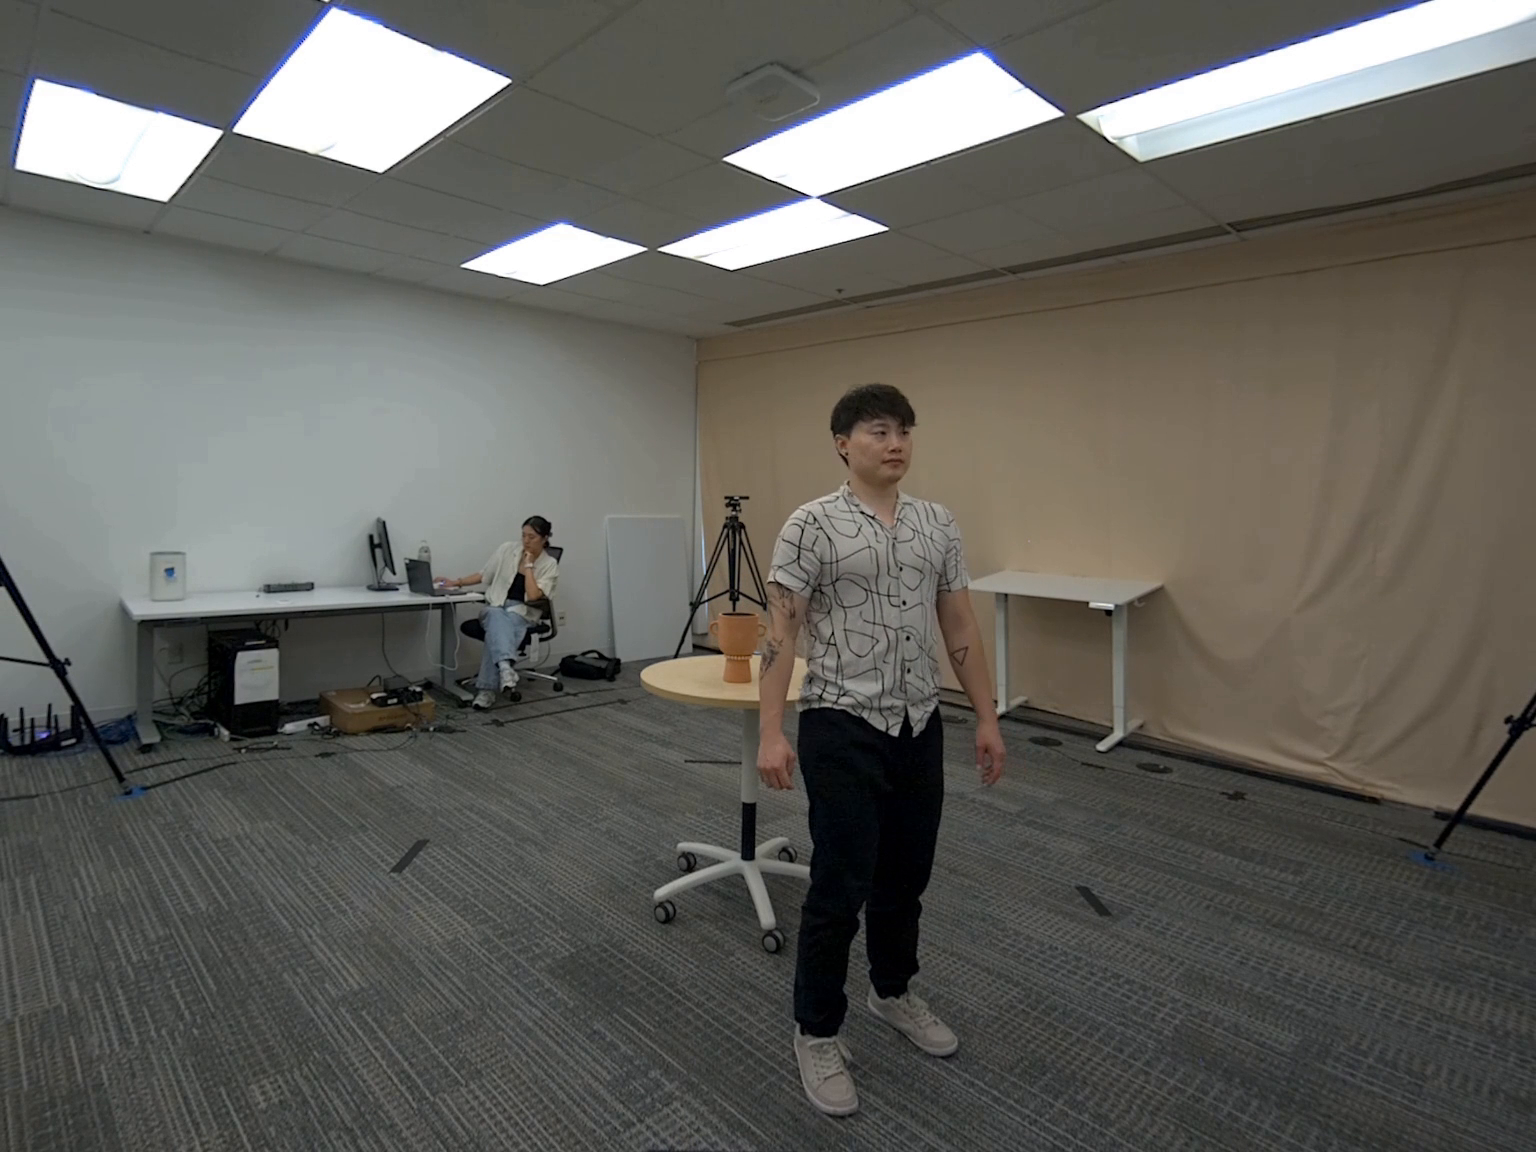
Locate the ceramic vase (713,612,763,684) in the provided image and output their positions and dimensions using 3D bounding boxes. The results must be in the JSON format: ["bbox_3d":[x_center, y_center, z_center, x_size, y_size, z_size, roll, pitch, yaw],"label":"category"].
[{"bbox_3d":[-0.107,0.240,2.787,0.131,0.219,0.163,-3,7,-44],"label":"ceramic vase"}]
